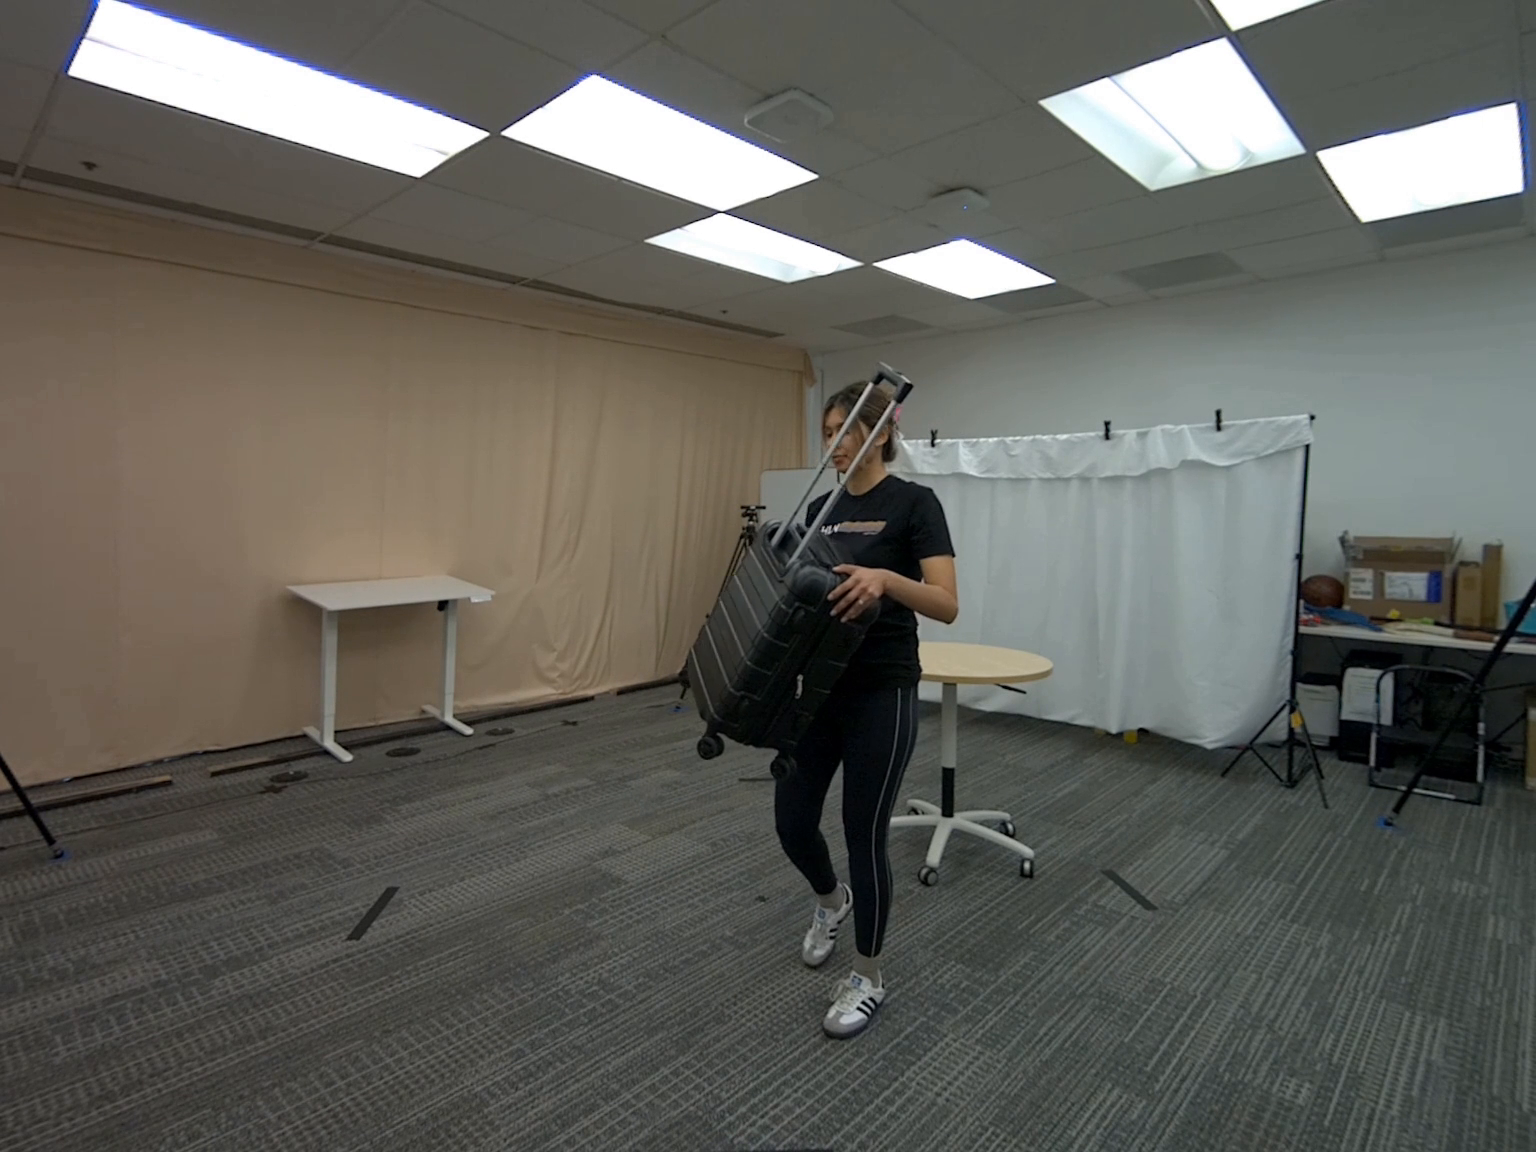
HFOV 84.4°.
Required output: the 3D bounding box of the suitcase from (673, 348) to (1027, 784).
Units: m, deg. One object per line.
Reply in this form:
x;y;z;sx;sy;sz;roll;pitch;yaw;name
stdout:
0.141;-0.016;2.051;0.250;0.979;0.394;25;19;-23;suitcase
